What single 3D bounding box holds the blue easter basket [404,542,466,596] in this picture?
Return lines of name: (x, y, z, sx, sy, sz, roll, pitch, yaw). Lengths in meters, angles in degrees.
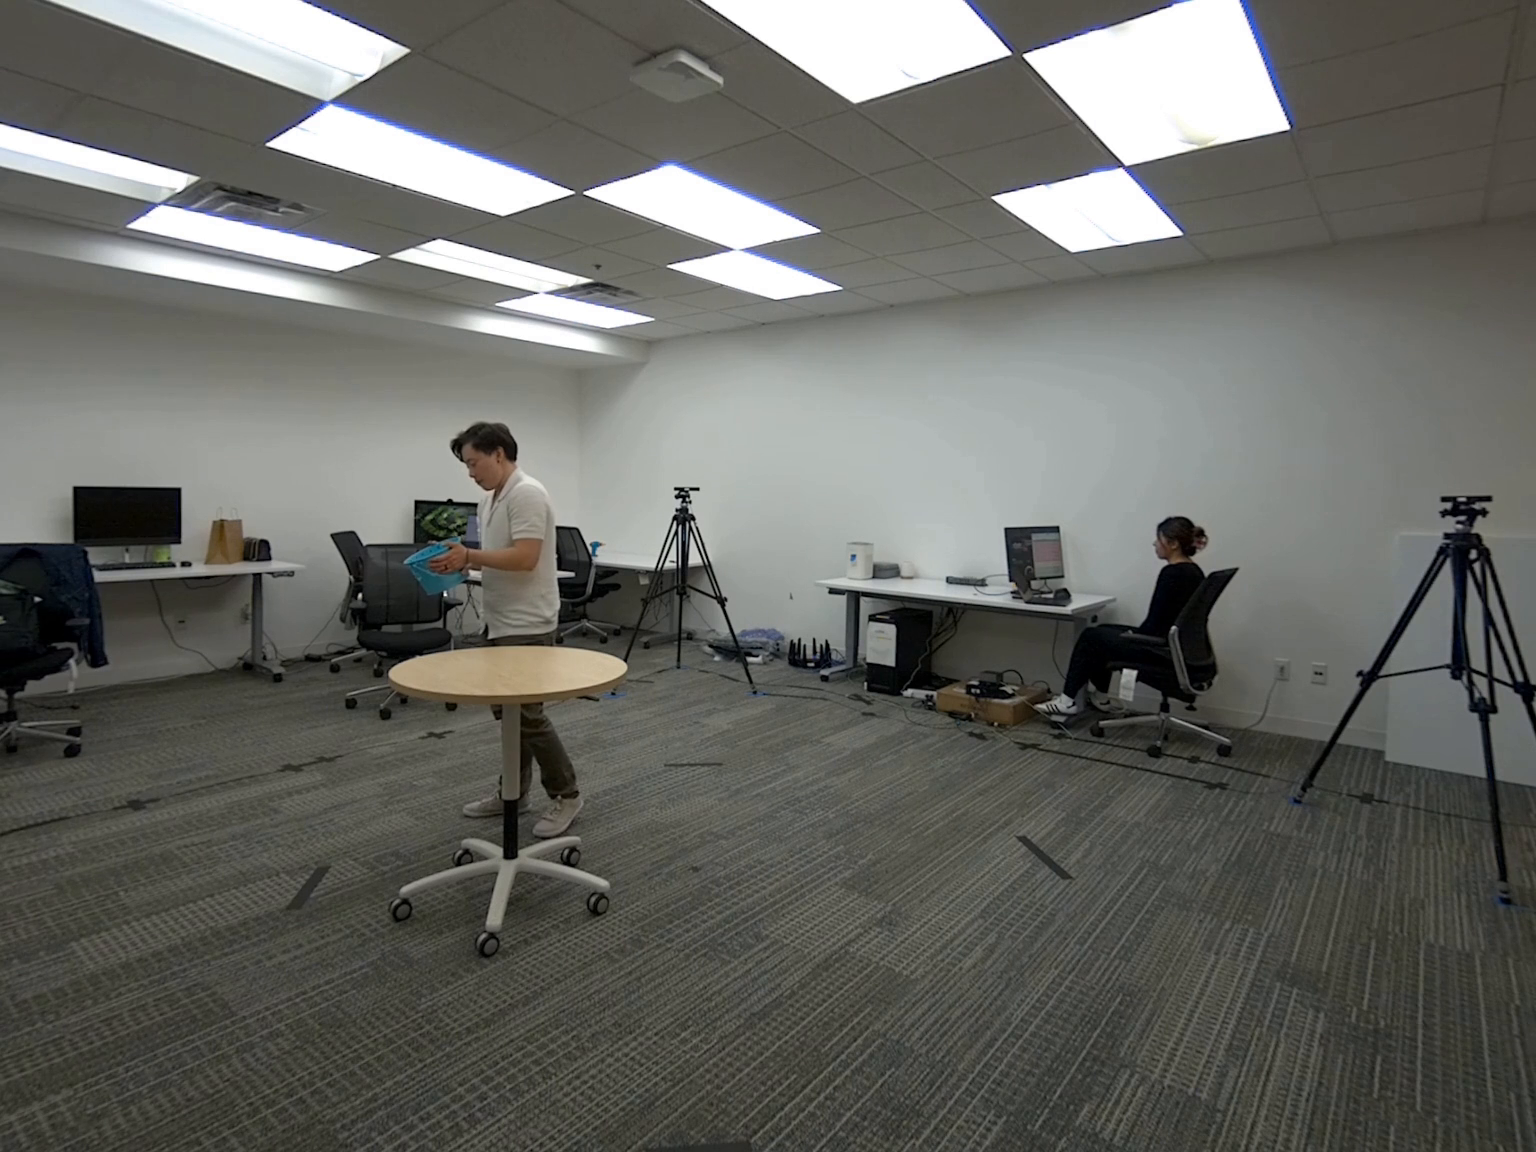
blue easter basket: (-1.329, -0.036, 3.397, 0.244, 0.153, 0.247, -19, 16, 3)
